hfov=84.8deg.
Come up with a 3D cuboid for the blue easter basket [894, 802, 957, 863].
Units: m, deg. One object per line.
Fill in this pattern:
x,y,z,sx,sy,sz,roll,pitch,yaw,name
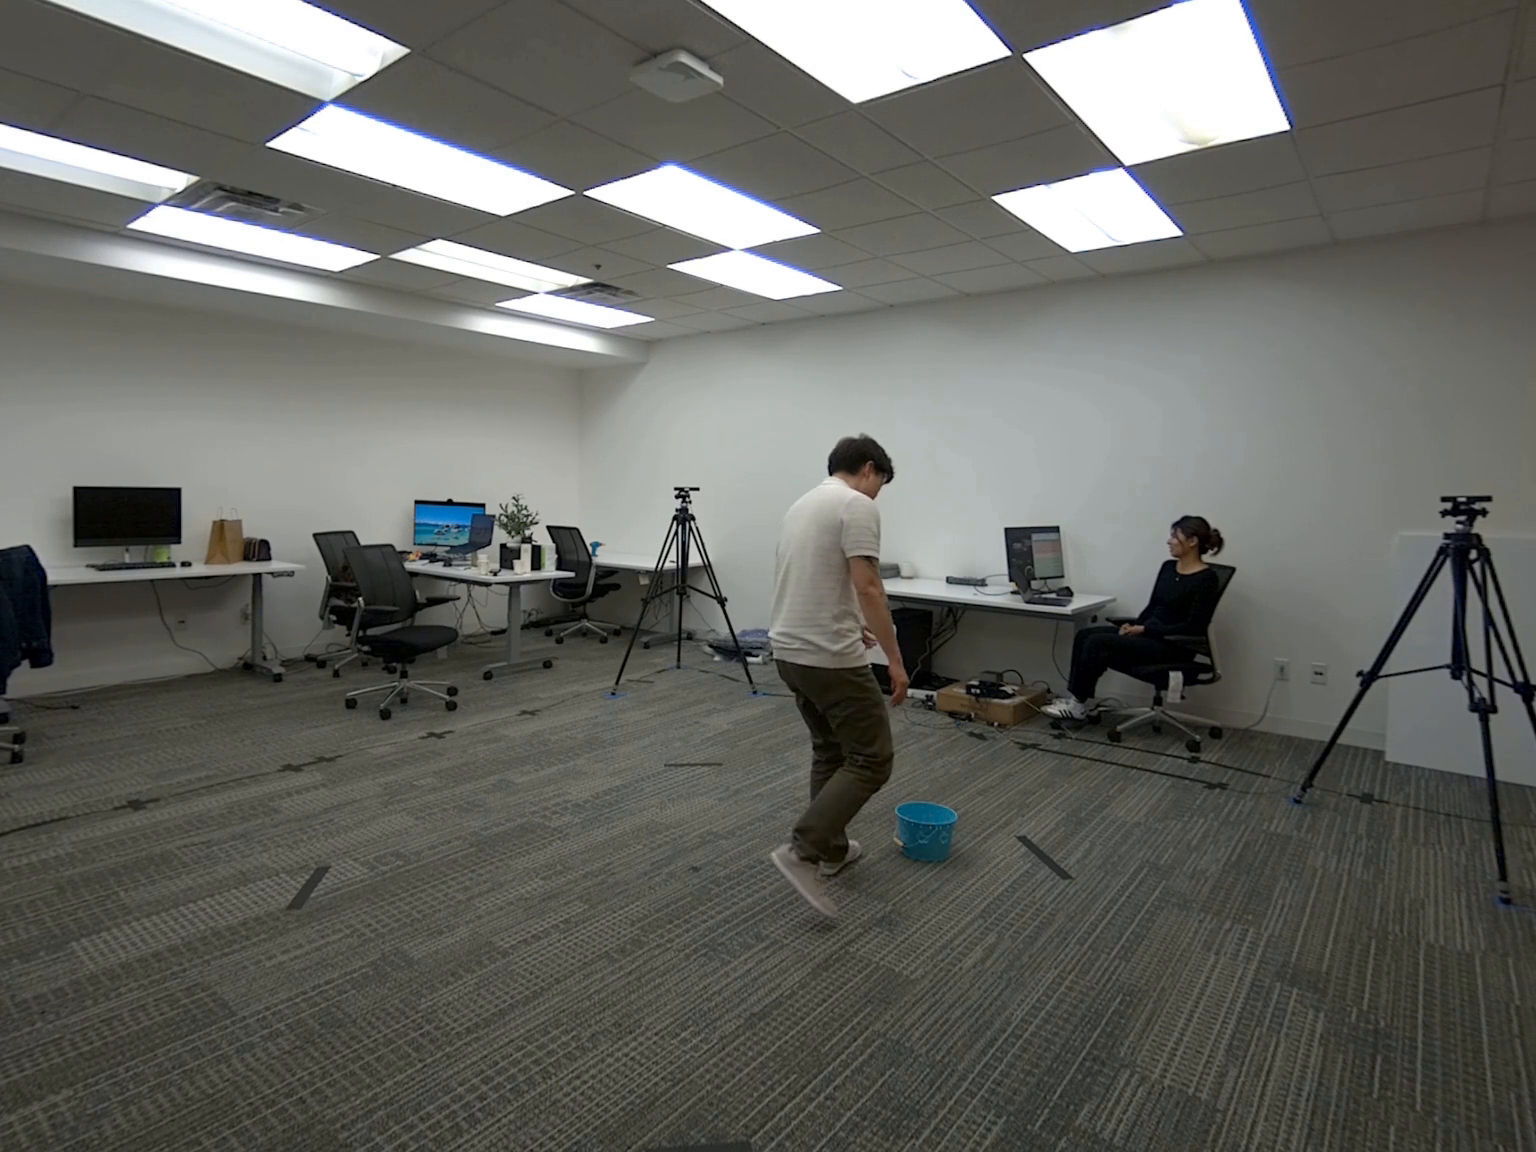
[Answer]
0.597,0.985,3.304,0.243,0.155,0.245,0,4,-2,blue easter basket
